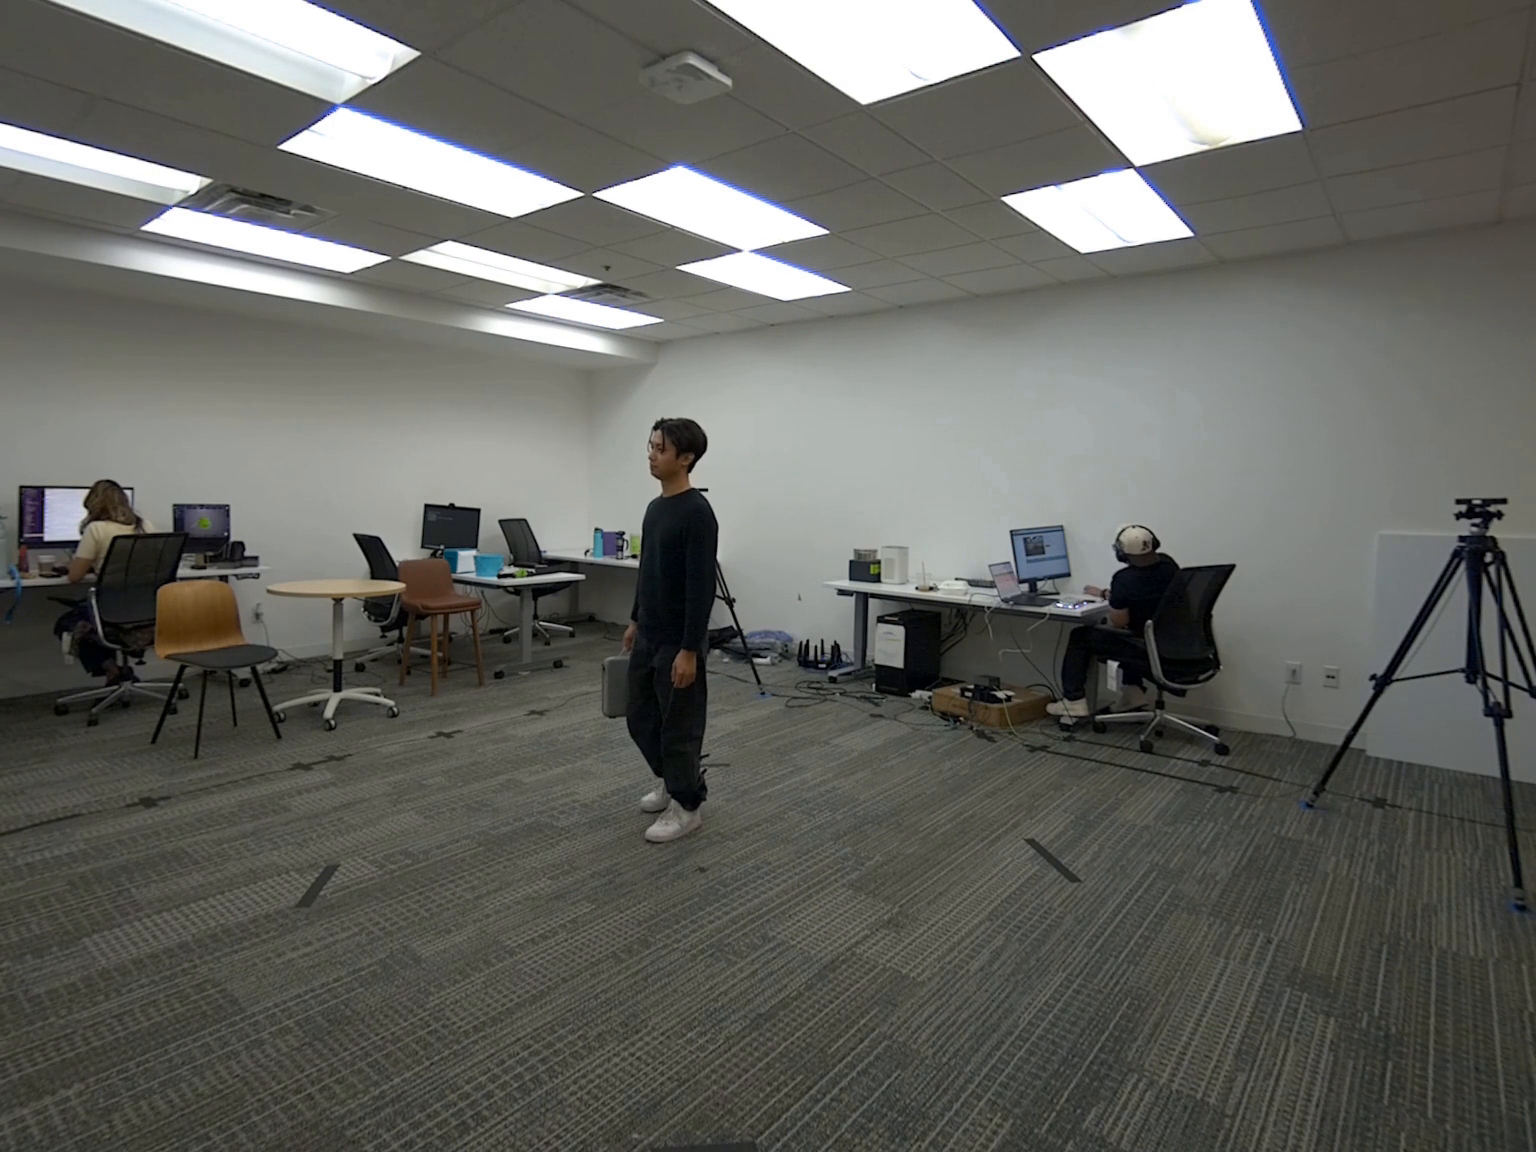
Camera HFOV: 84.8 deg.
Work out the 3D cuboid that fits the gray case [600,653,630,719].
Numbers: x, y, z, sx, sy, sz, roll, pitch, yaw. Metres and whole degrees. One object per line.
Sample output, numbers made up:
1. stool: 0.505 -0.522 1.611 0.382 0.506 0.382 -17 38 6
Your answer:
1. gray case: -0.590 0.466 3.662 0.253 0.262 0.105 -1 -5 -16
